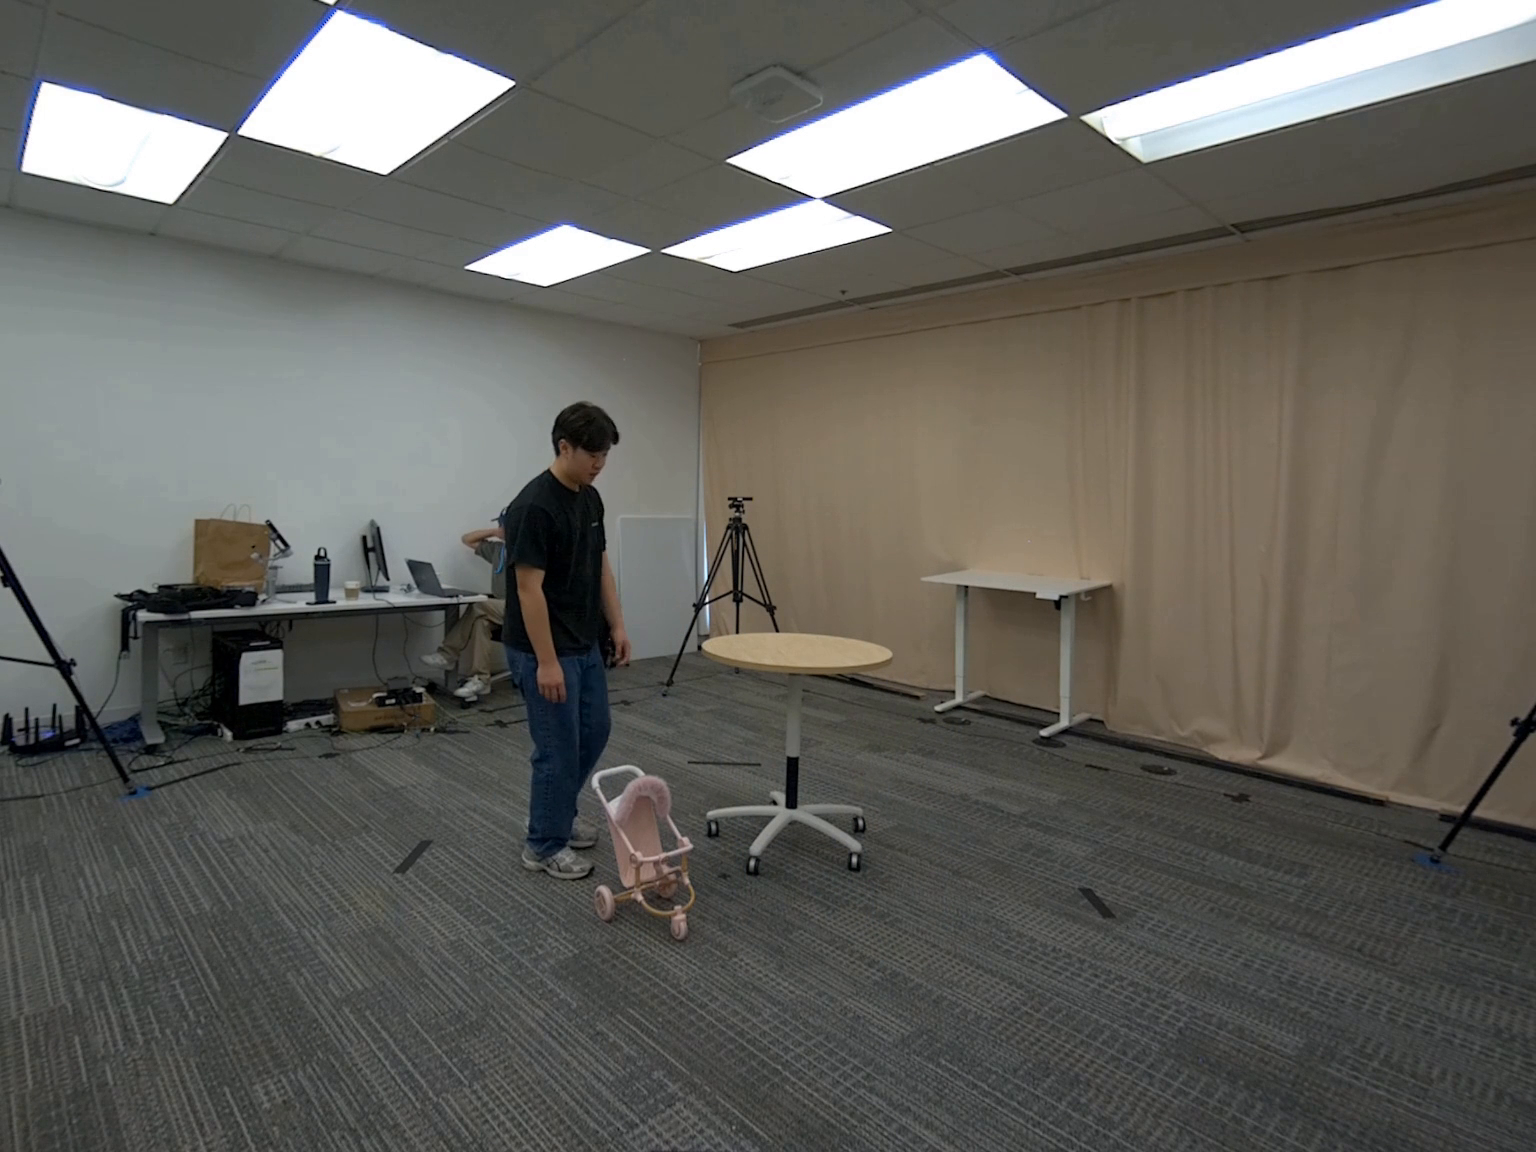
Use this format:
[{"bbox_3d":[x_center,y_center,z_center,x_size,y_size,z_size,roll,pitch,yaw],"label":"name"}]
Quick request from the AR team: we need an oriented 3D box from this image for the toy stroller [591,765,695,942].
[{"bbox_3d":[-0.408,0.905,2.782,0.275,0.539,0.346,-1,-11,-37],"label":"toy stroller"}]
